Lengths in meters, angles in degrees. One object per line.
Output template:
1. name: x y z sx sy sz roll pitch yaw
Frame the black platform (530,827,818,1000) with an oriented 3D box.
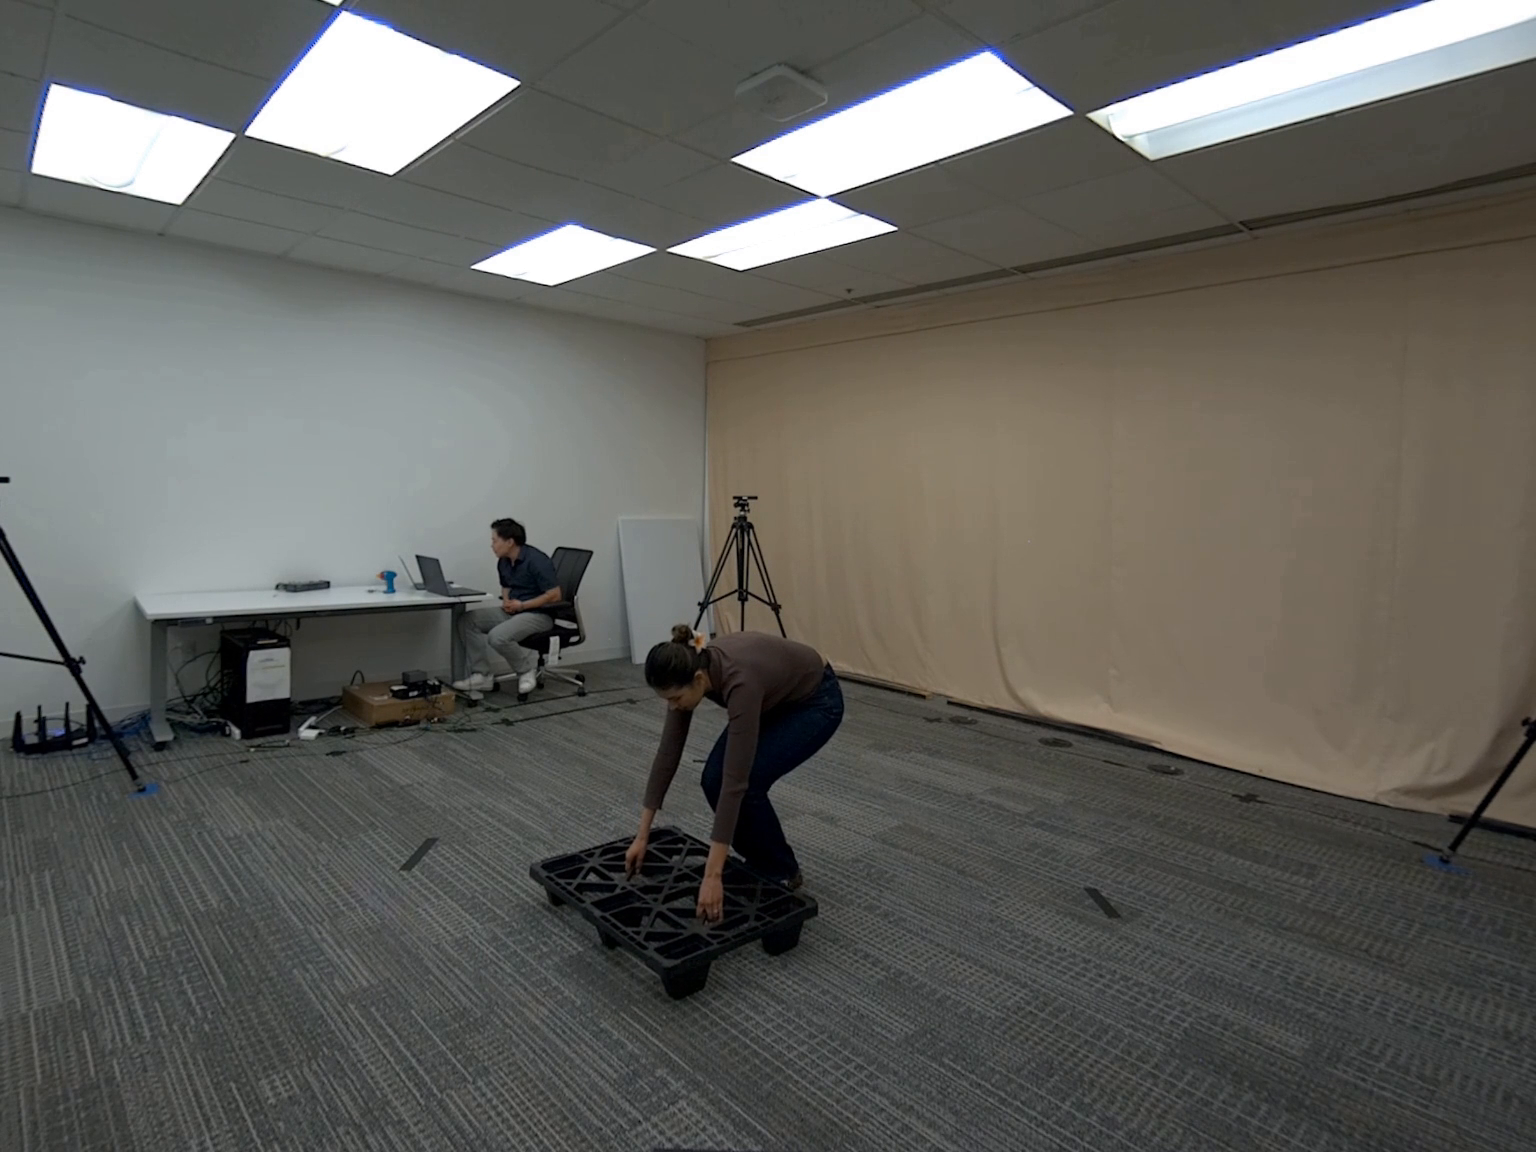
1. black platform: -0.331 1.066 2.742 0.591 0.143 0.826 -3 7 -42
